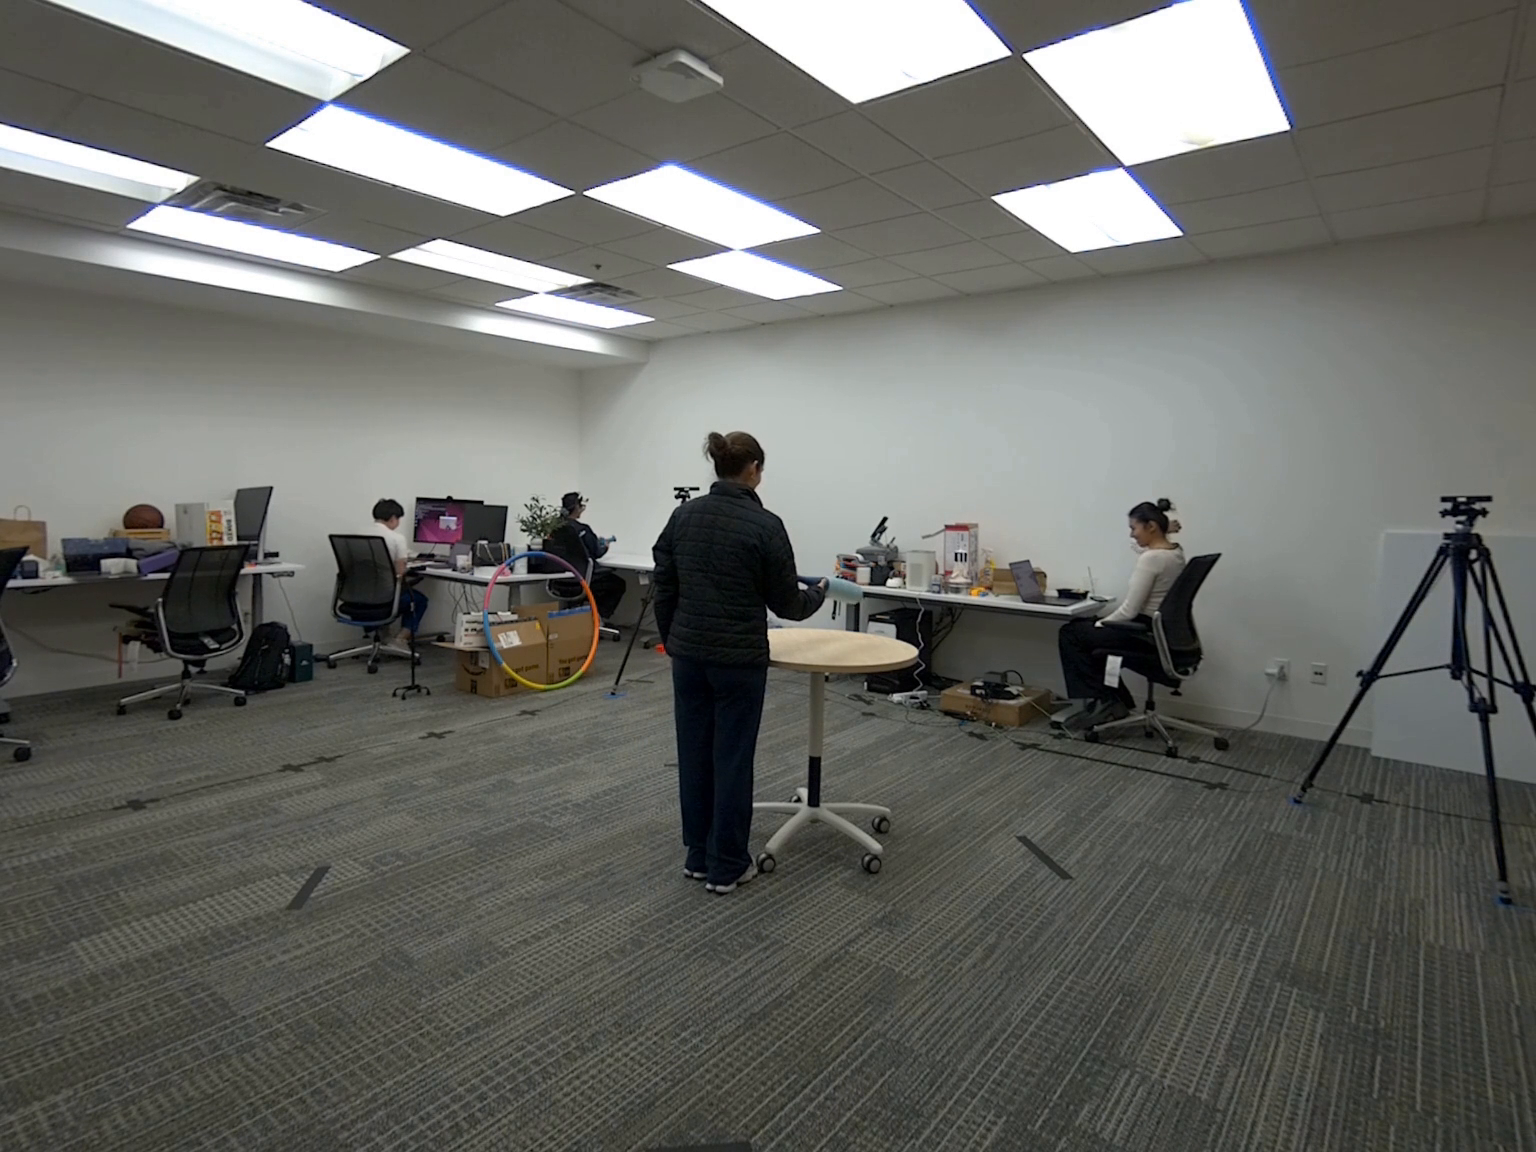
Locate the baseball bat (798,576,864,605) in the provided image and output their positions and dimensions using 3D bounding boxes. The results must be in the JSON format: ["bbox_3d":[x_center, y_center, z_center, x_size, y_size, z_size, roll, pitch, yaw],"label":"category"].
[{"bbox_3d":[0.214,0.026,3.314,0.092,0.089,0.522,4,-7,42],"label":"baseball bat"}]
